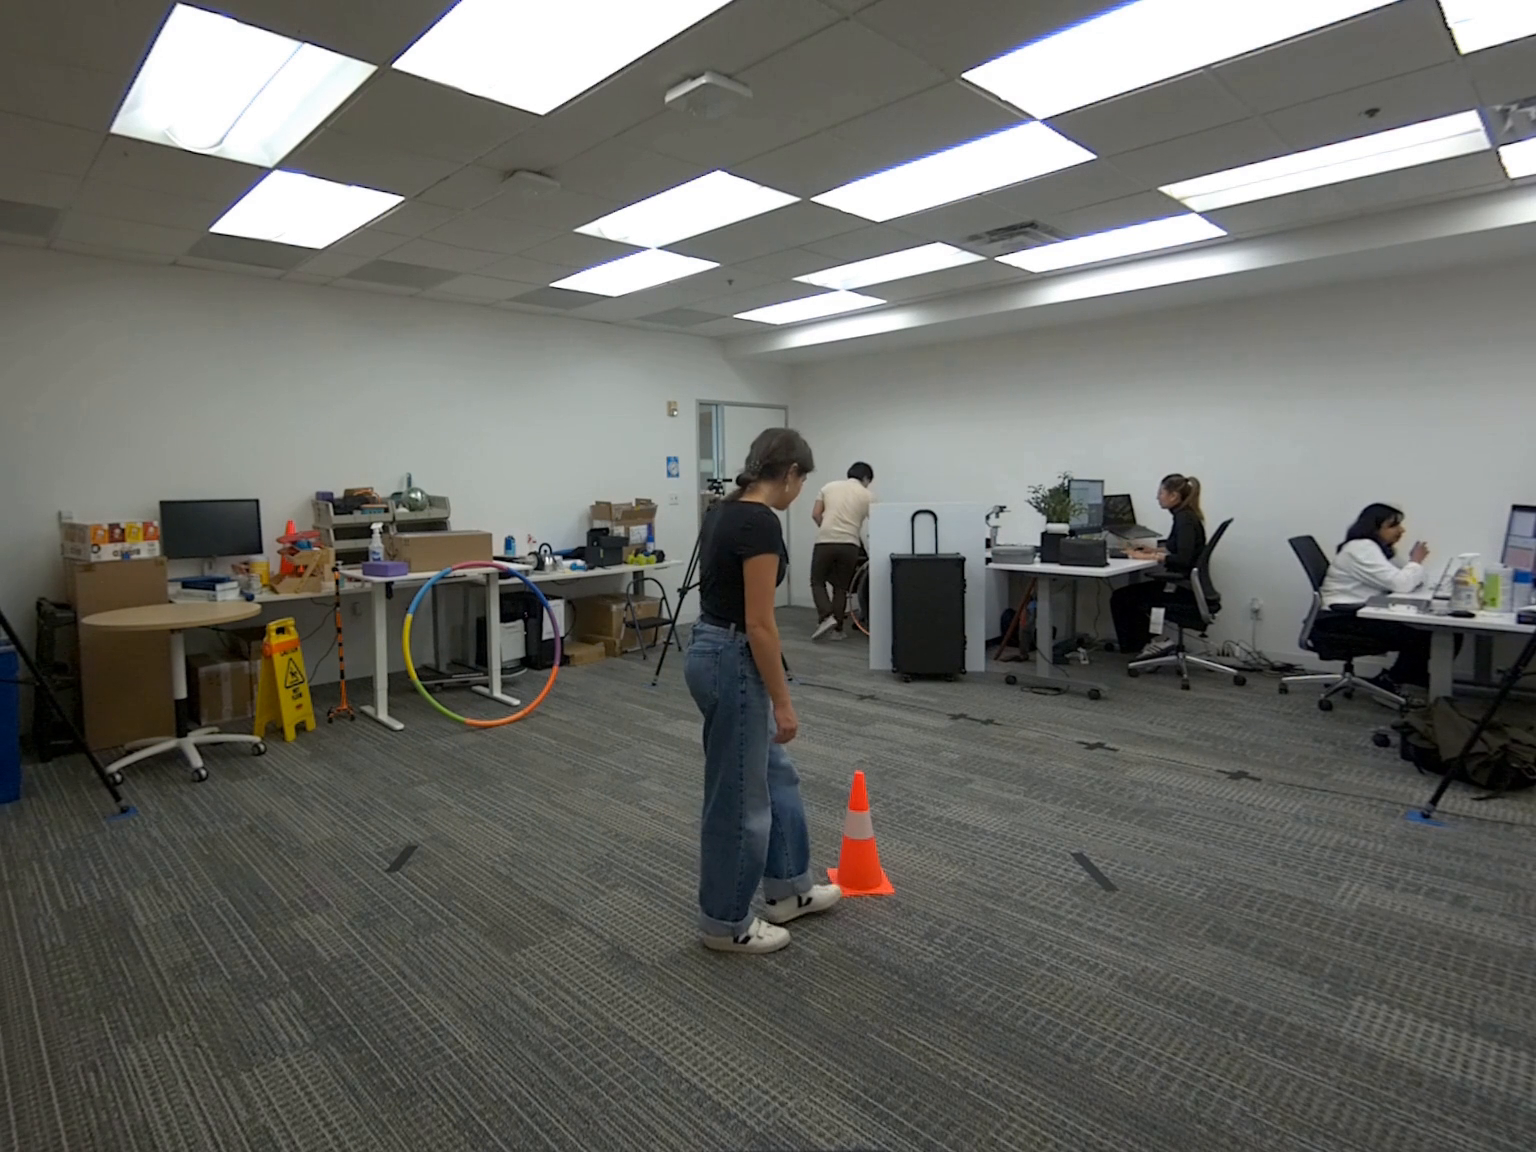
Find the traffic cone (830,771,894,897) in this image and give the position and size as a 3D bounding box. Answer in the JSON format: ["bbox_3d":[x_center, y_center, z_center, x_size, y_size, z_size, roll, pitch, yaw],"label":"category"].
[{"bbox_3d":[0.313,0.872,2.949,0.204,0.383,0.205,-3,3,-7],"label":"traffic cone"}]
